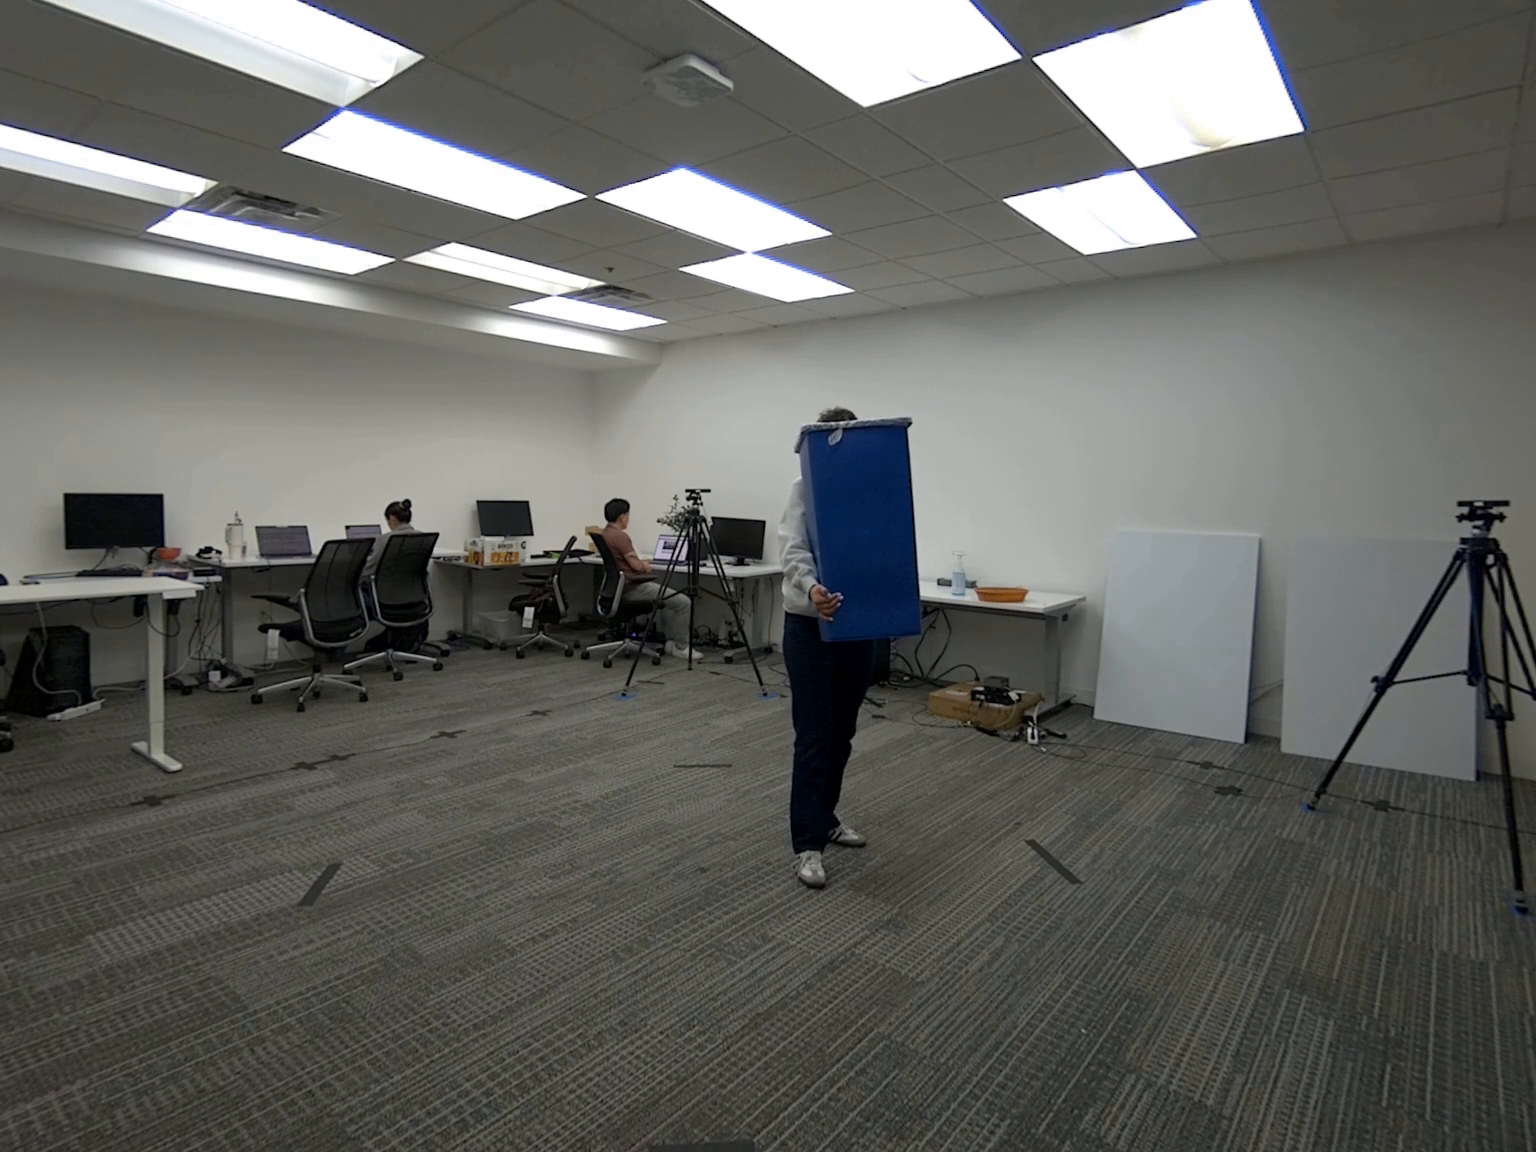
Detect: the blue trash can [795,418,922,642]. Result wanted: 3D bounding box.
[{"bbox_3d":[0.305,-0.156,2.934,0.378,0.718,0.372,-4,-6,-1],"label":"blue trash can"}]
